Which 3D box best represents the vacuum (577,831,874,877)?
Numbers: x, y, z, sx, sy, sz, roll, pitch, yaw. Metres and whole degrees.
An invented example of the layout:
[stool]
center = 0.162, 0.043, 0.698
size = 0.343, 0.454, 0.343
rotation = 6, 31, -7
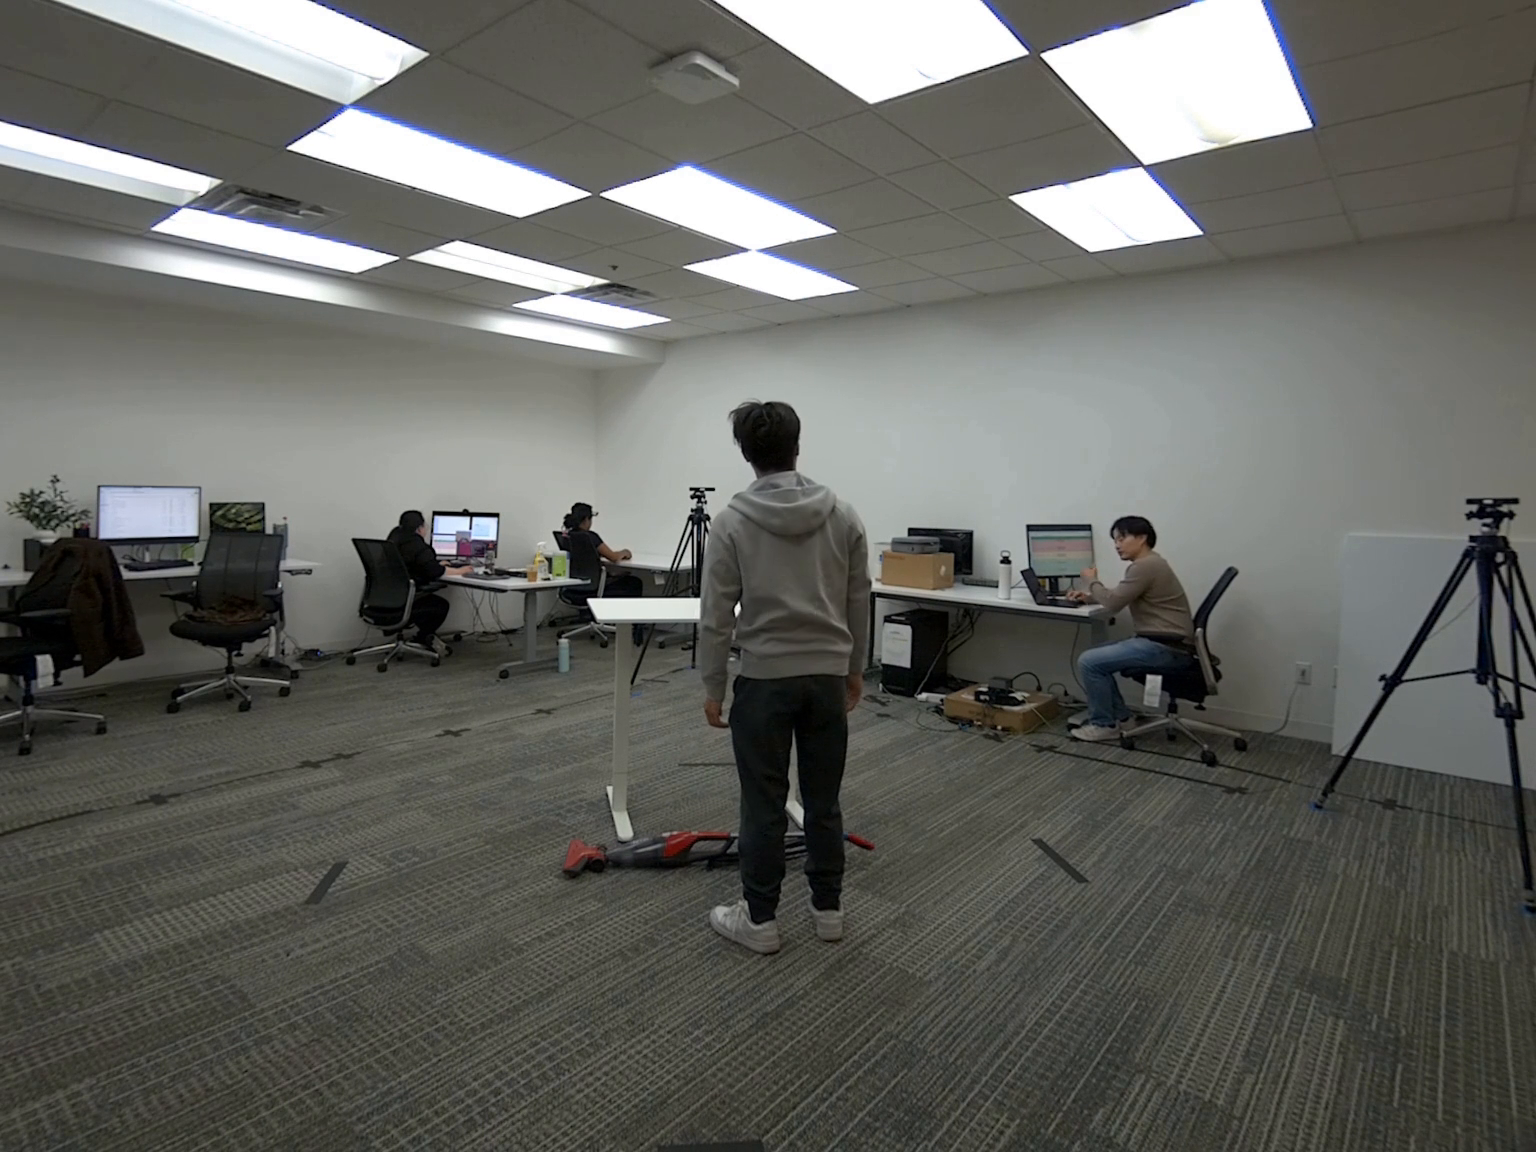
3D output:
[vacuum]
center = -0.139, 1.001, 3.136
size = 1.046, 0.143, 0.255
rotation = -2, 8, -3
